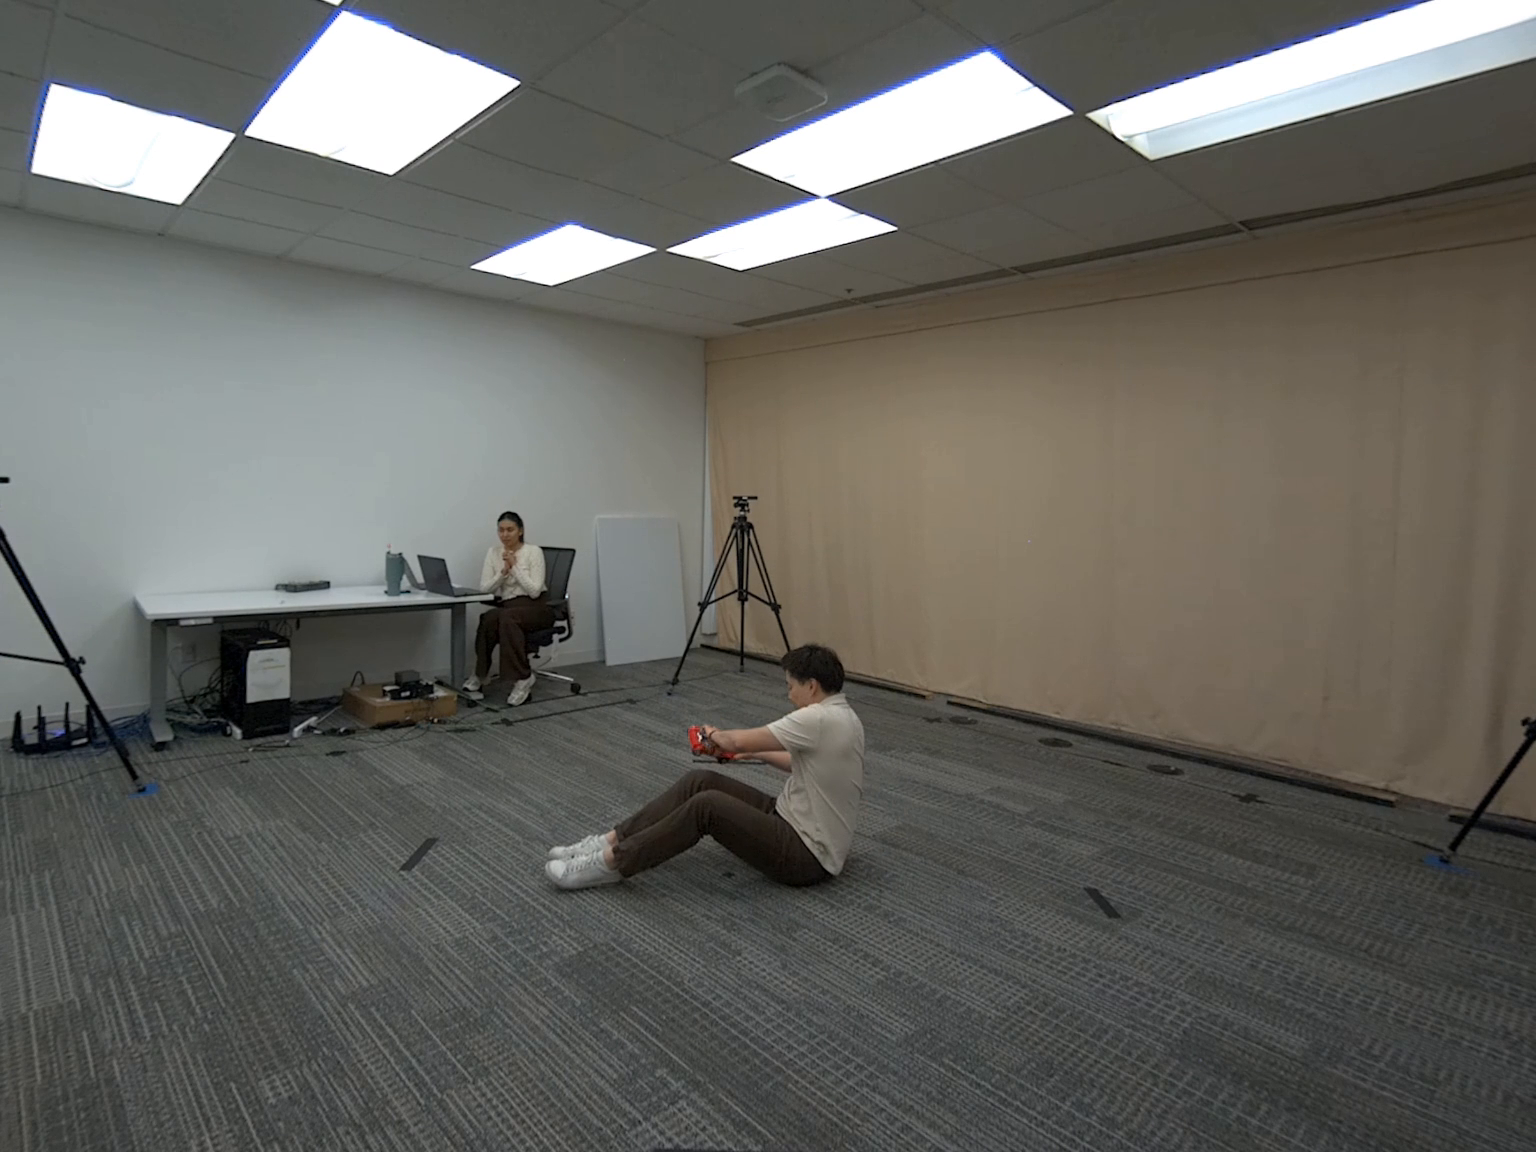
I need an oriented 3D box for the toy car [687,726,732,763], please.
[{"bbox_3d":[-0.225,0.684,3.387,0.248,0.083,0.134,19,36,-33],"label":"toy car"}]
